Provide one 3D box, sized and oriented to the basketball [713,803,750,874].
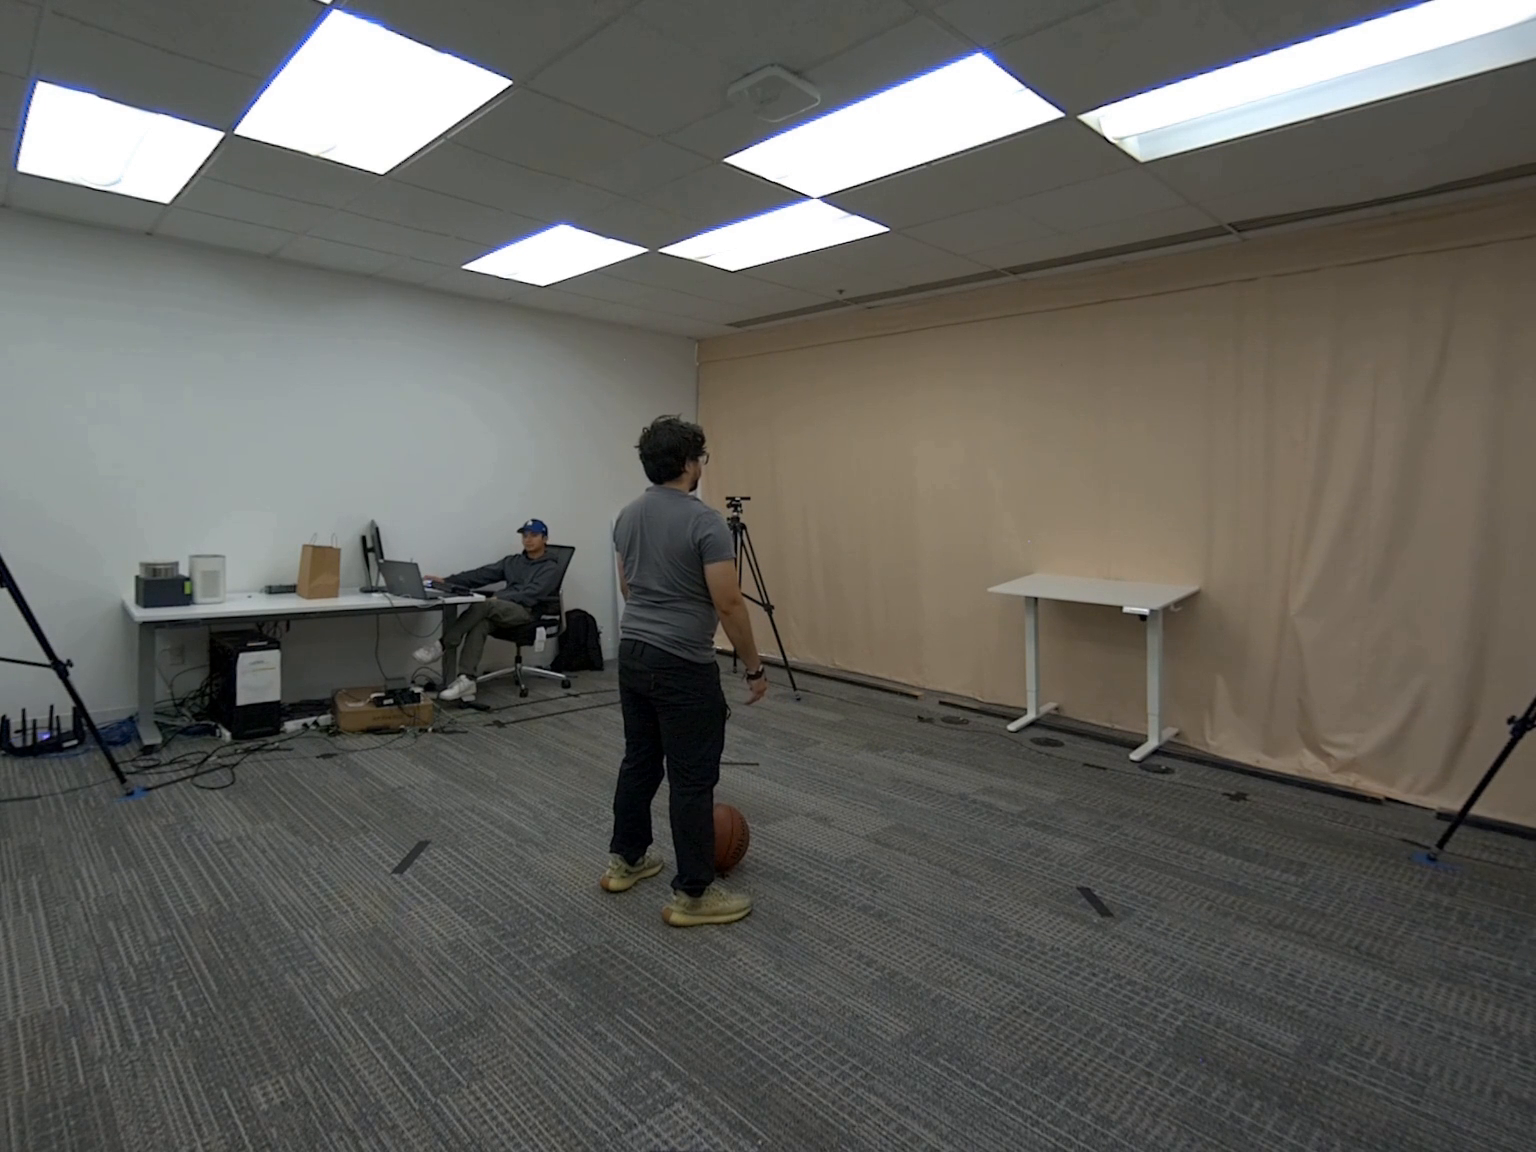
[{"bbox_3d":[-0.192,0.978,3.162,0.236,0.235,0.237,1,4,-1],"label":"basketball"}]
